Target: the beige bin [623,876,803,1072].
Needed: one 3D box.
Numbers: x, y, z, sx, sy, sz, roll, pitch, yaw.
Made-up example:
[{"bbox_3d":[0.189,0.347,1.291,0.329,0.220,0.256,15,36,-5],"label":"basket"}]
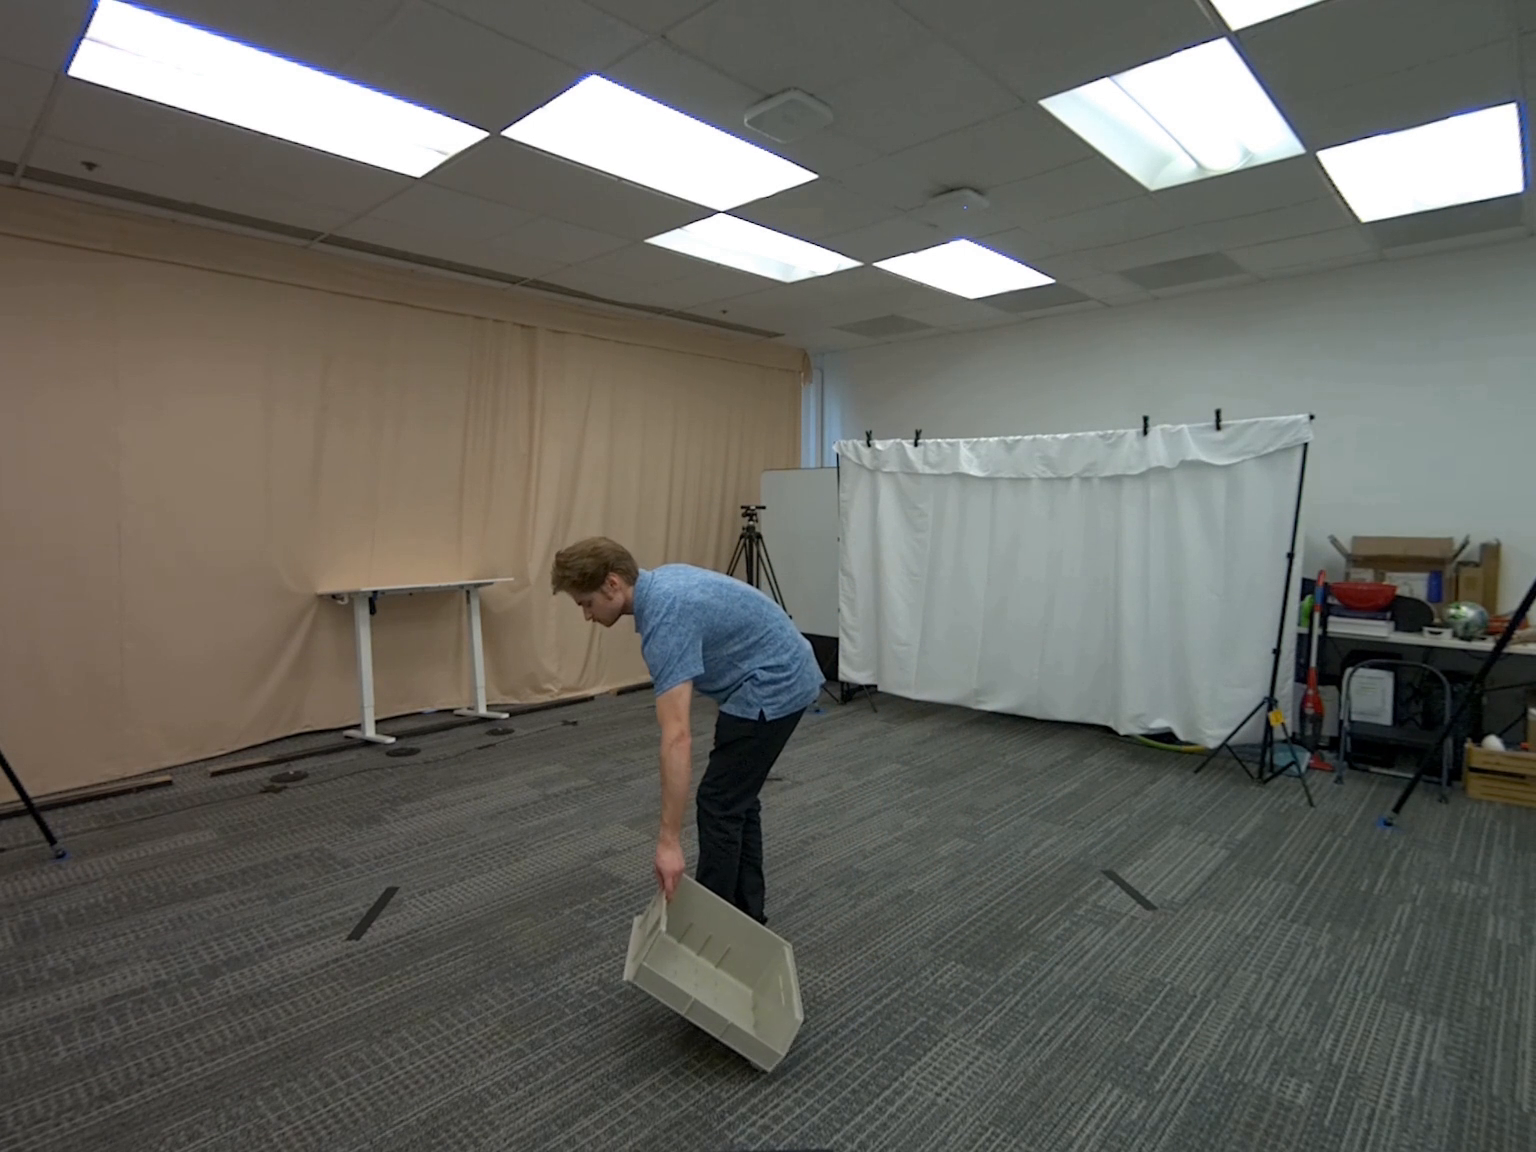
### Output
[{"bbox_3d":[-0.142,1.025,2.190,0.421,0.189,0.379,33,2,-4],"label":"beige bin"}]
